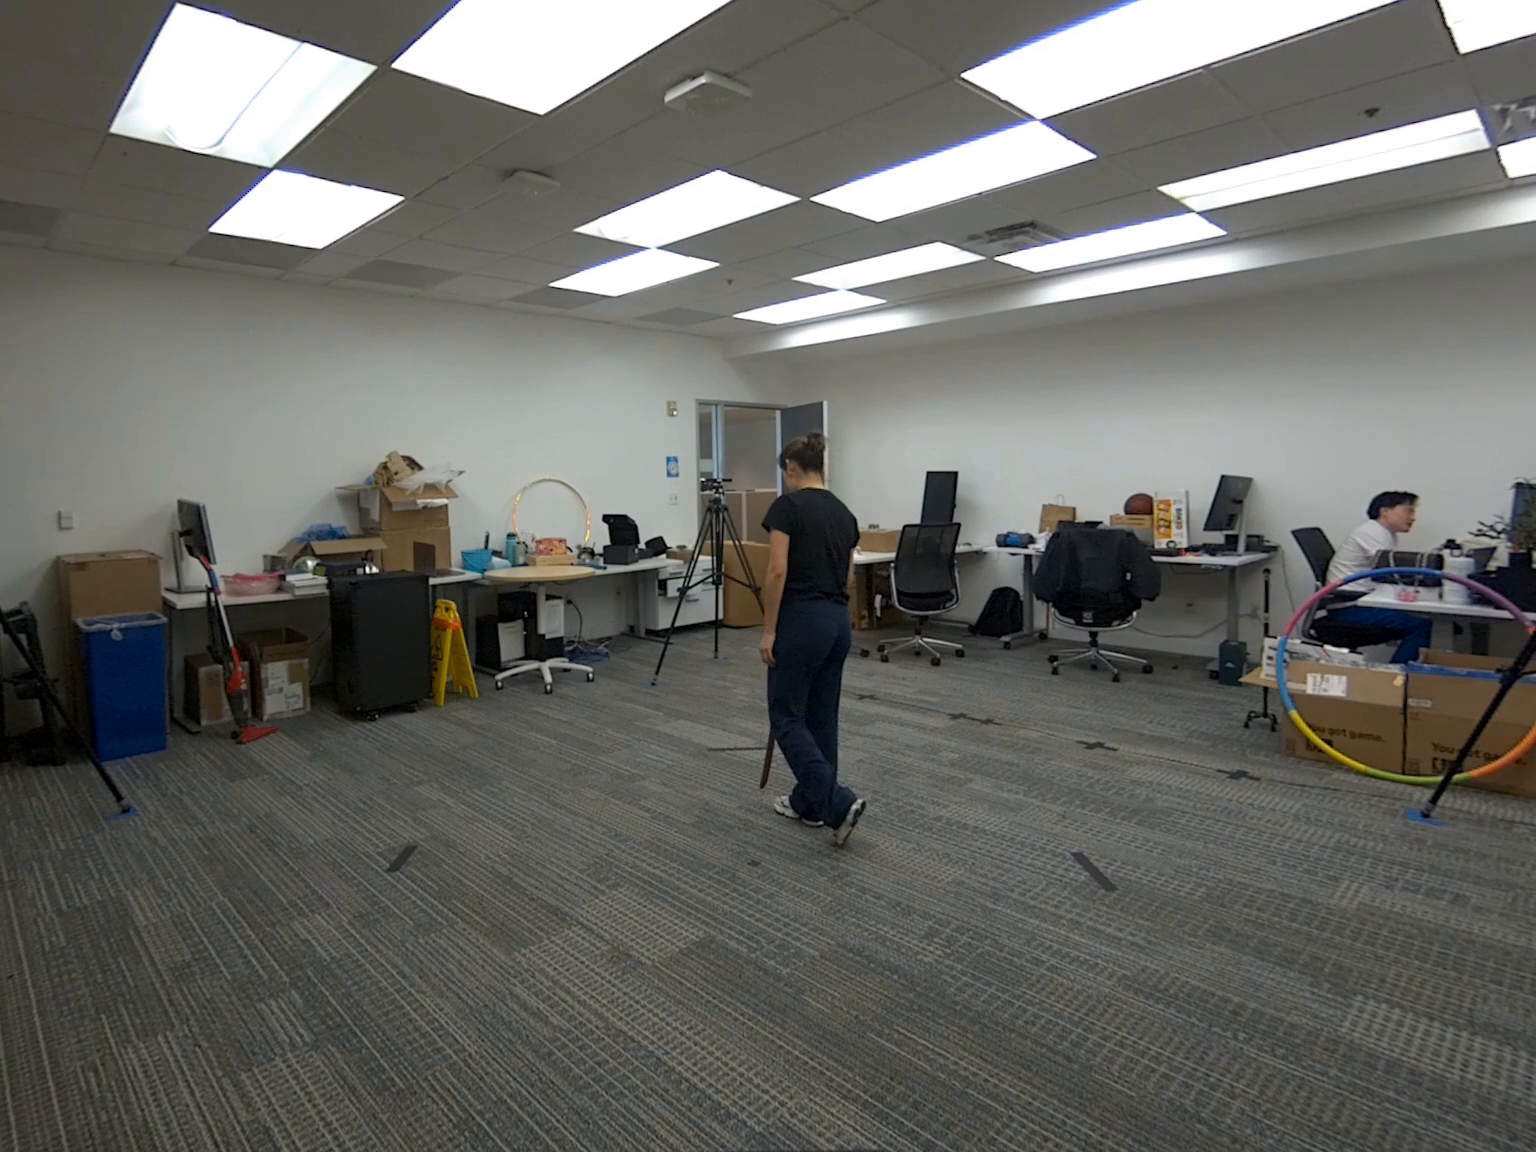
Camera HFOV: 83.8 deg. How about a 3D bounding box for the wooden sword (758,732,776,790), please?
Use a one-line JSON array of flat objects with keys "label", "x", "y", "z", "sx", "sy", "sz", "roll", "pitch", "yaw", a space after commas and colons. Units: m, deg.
[{"label": "wooden sword", "x": 0.055, "y": 0.460, "z": 3.809, "sx": 0.024, "sy": 1.019, "sz": 0.051, "roll": 10, "pitch": 7, "yaw": 14}]
